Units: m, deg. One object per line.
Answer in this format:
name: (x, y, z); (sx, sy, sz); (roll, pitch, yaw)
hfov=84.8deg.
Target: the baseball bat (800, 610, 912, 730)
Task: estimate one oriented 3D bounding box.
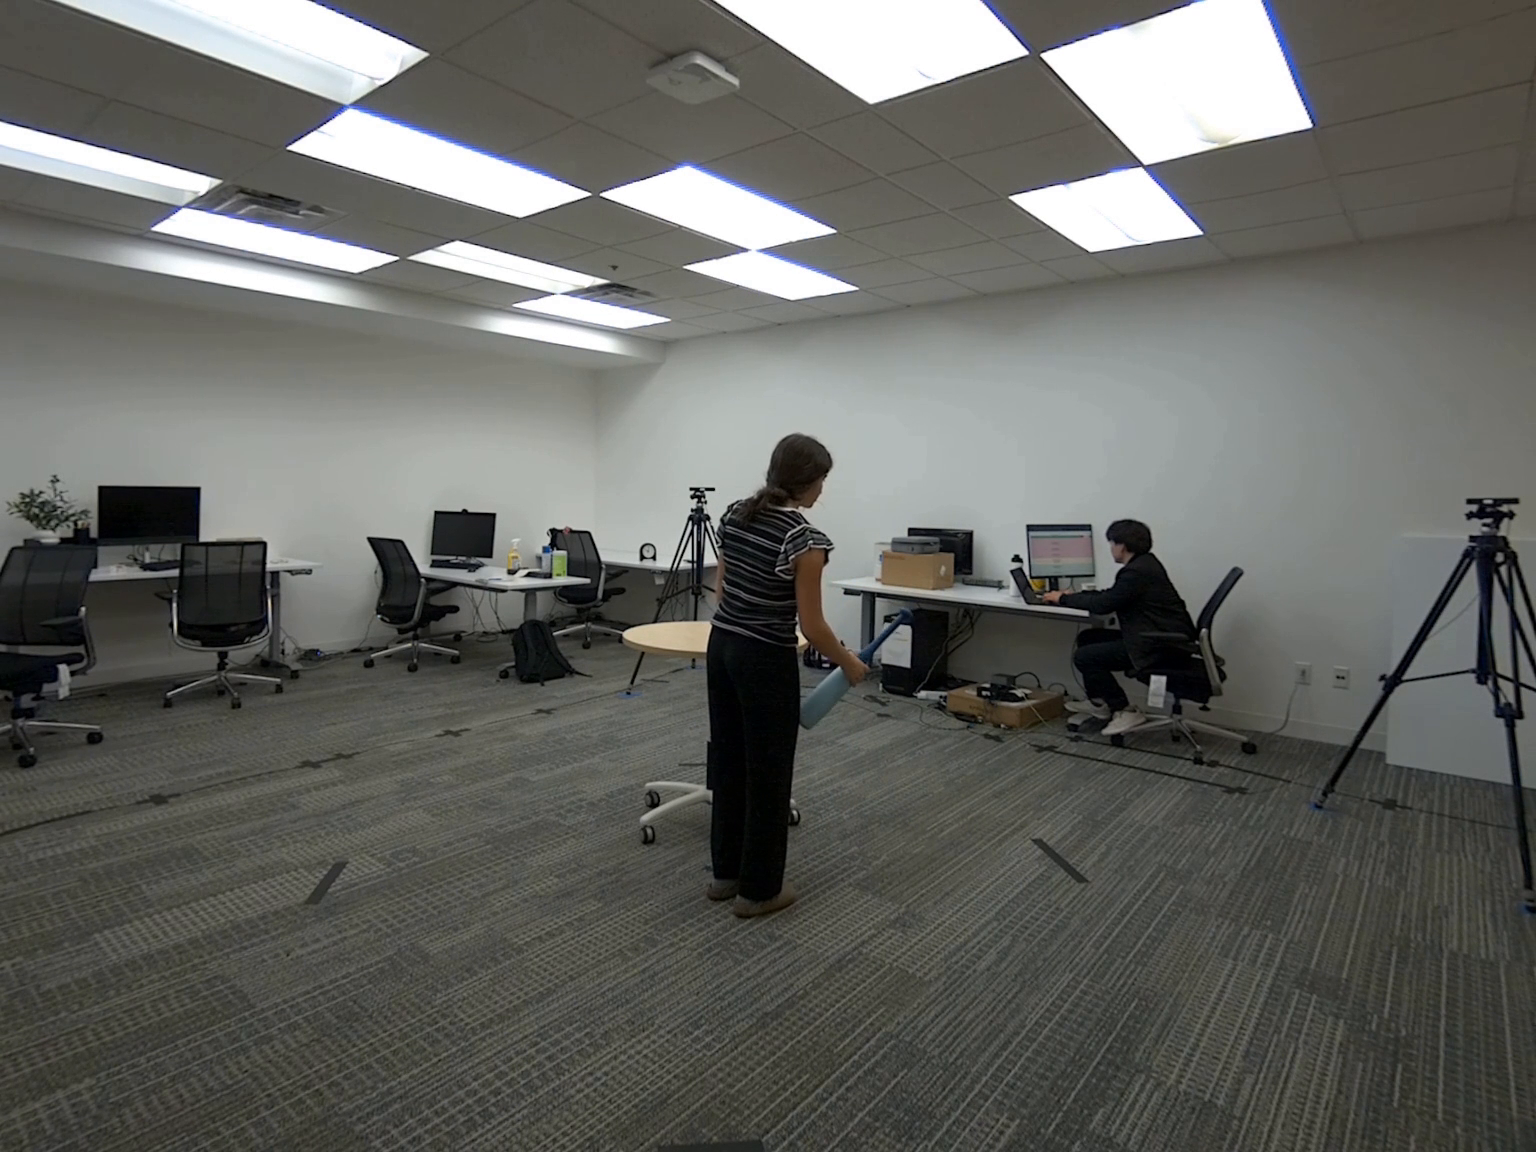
baseball bat: (0.289, 0.316, 2.933); (0.089, 0.543, 0.089); (43, -1, -1)
